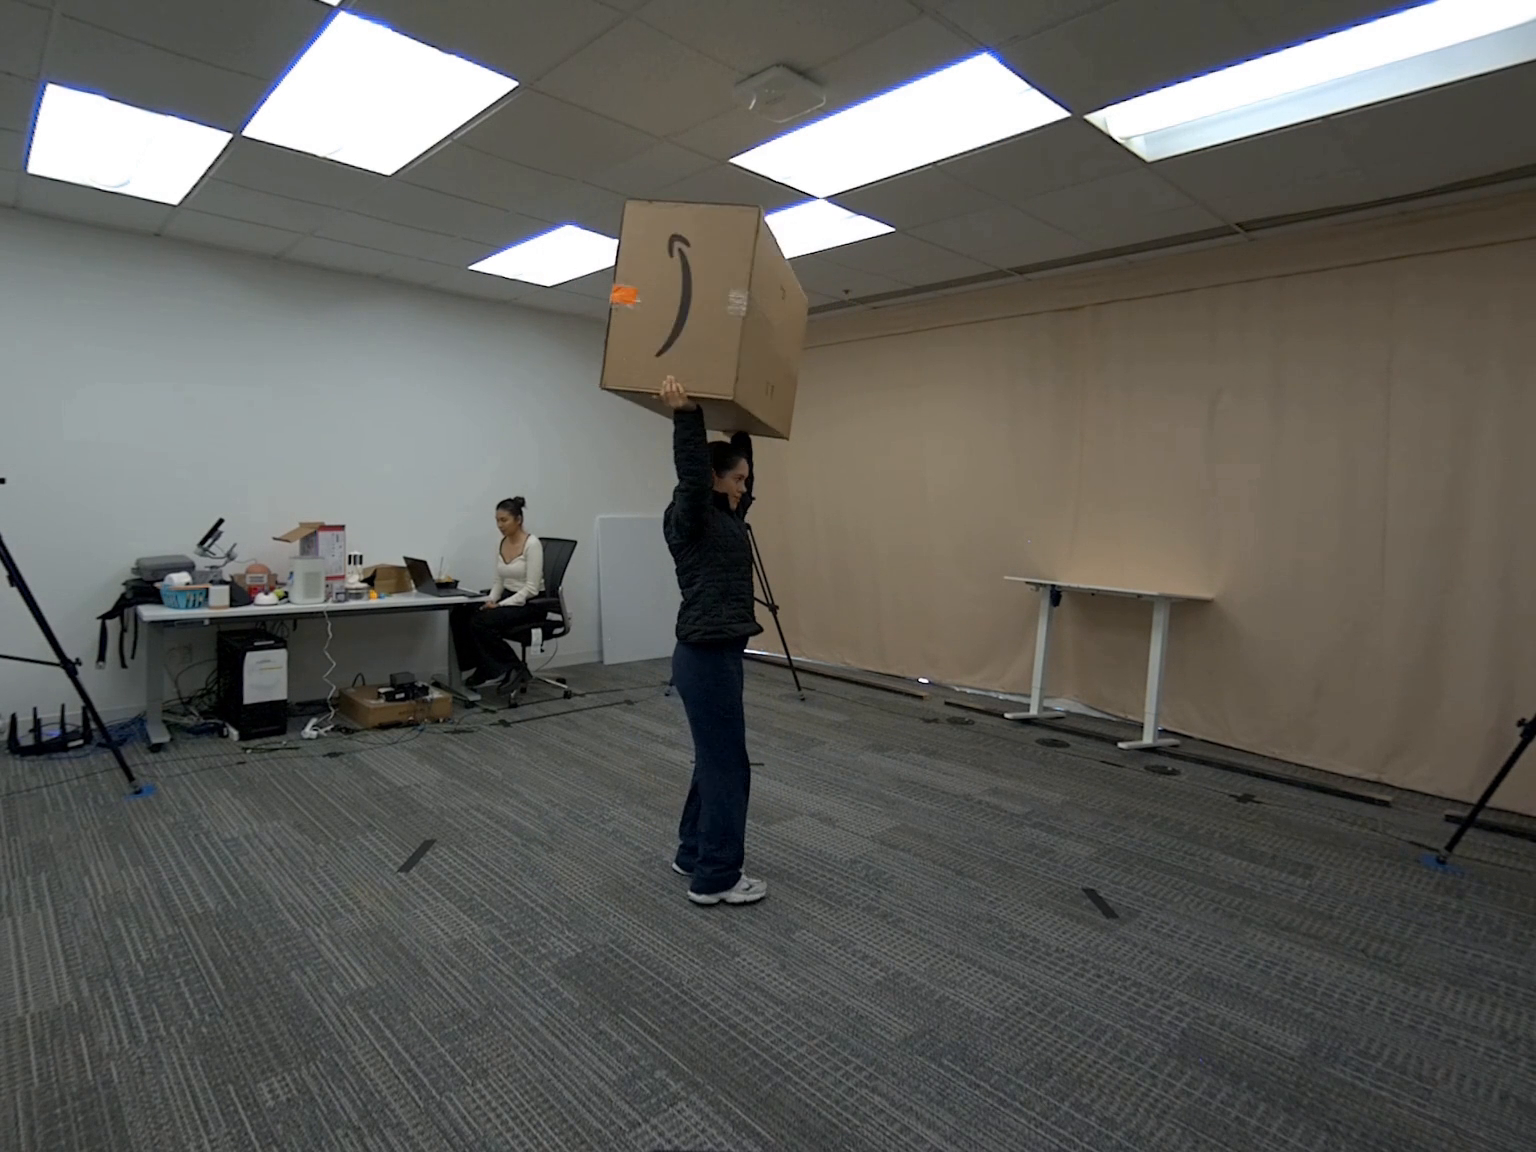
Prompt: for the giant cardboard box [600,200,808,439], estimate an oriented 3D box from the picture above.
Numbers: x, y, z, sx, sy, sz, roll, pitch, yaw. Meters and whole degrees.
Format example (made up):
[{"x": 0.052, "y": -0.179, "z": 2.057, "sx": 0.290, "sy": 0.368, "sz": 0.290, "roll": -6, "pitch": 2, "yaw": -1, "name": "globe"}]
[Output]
[{"x": -0.175, "y": -0.841, "z": 2.974, "sx": 0.451, "sy": 0.583, "sz": 1.019, "roll": 7, "pitch": 3, "yaw": 9, "name": "giant cardboard box"}]
